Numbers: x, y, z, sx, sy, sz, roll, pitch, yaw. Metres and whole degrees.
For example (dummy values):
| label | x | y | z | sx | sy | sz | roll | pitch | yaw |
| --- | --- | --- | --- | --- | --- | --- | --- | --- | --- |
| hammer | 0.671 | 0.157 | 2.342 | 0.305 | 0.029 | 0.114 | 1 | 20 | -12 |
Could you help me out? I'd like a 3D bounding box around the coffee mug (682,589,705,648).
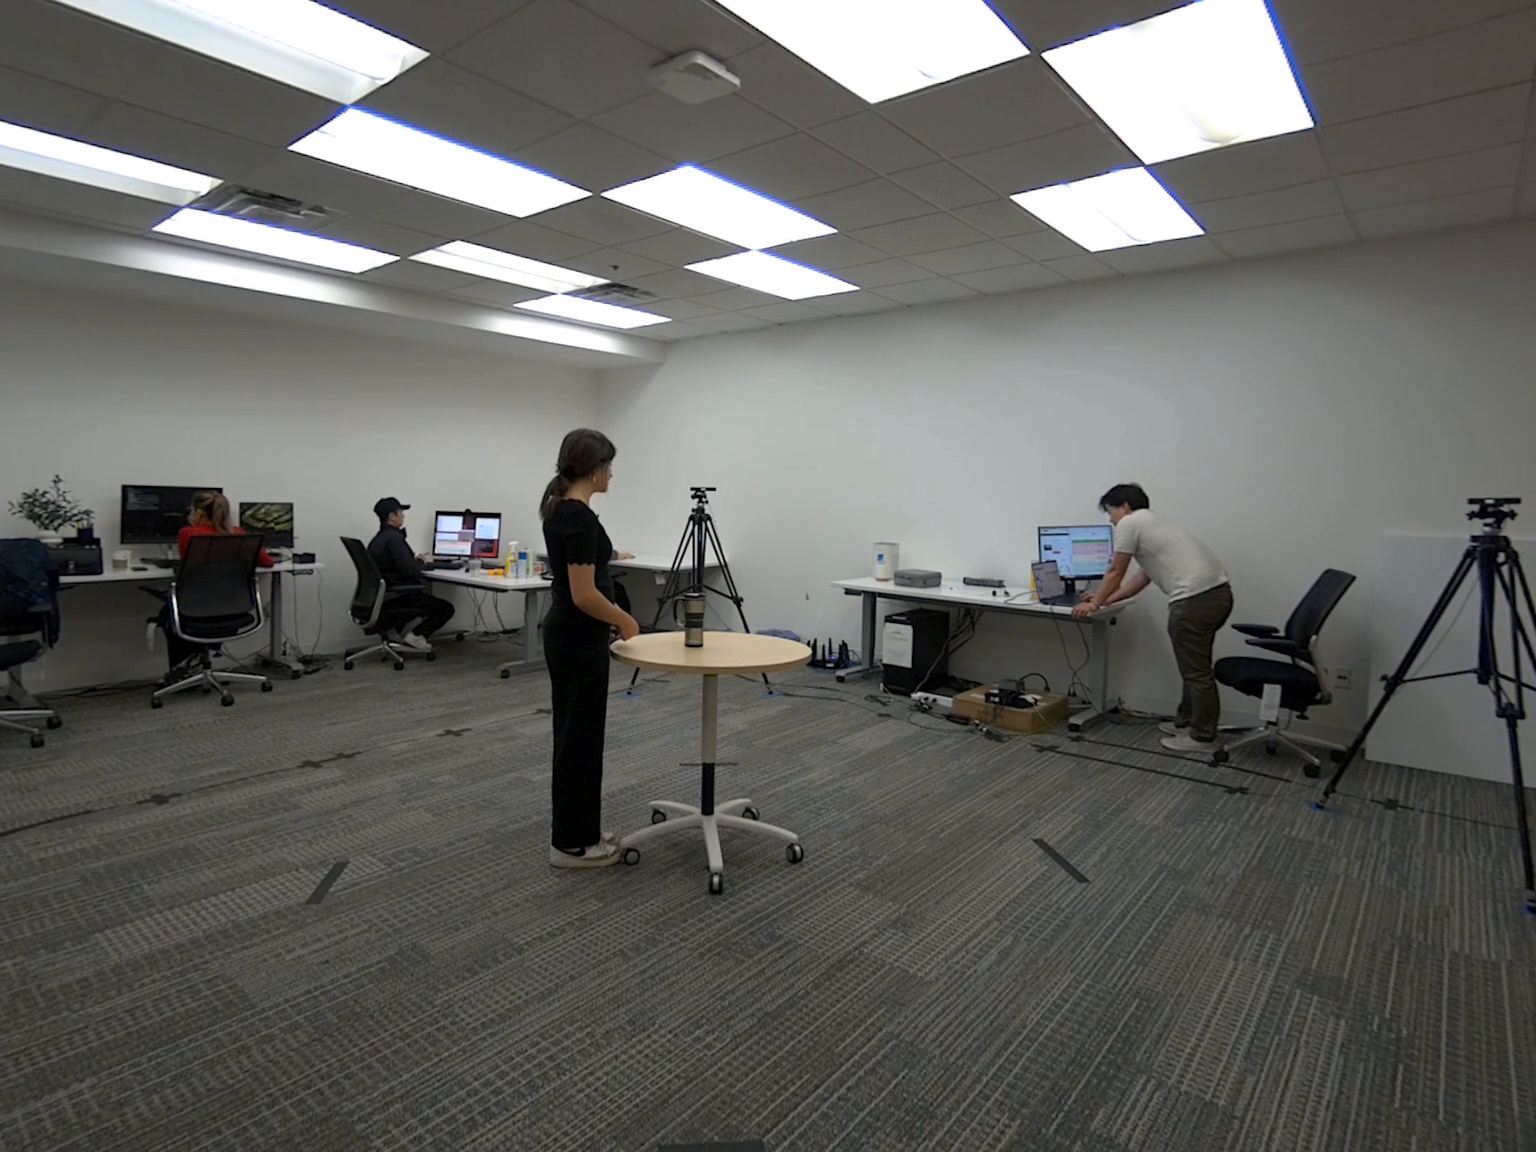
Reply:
| label | x | y | z | sx | sy | sz | roll | pitch | yaw |
| --- | --- | --- | --- | --- | --- | --- | --- | --- | --- |
| coffee mug | -0.312 | 0.172 | 3.269 | 0.126 | 0.201 | 0.085 | 5 | 9 | 43 |
